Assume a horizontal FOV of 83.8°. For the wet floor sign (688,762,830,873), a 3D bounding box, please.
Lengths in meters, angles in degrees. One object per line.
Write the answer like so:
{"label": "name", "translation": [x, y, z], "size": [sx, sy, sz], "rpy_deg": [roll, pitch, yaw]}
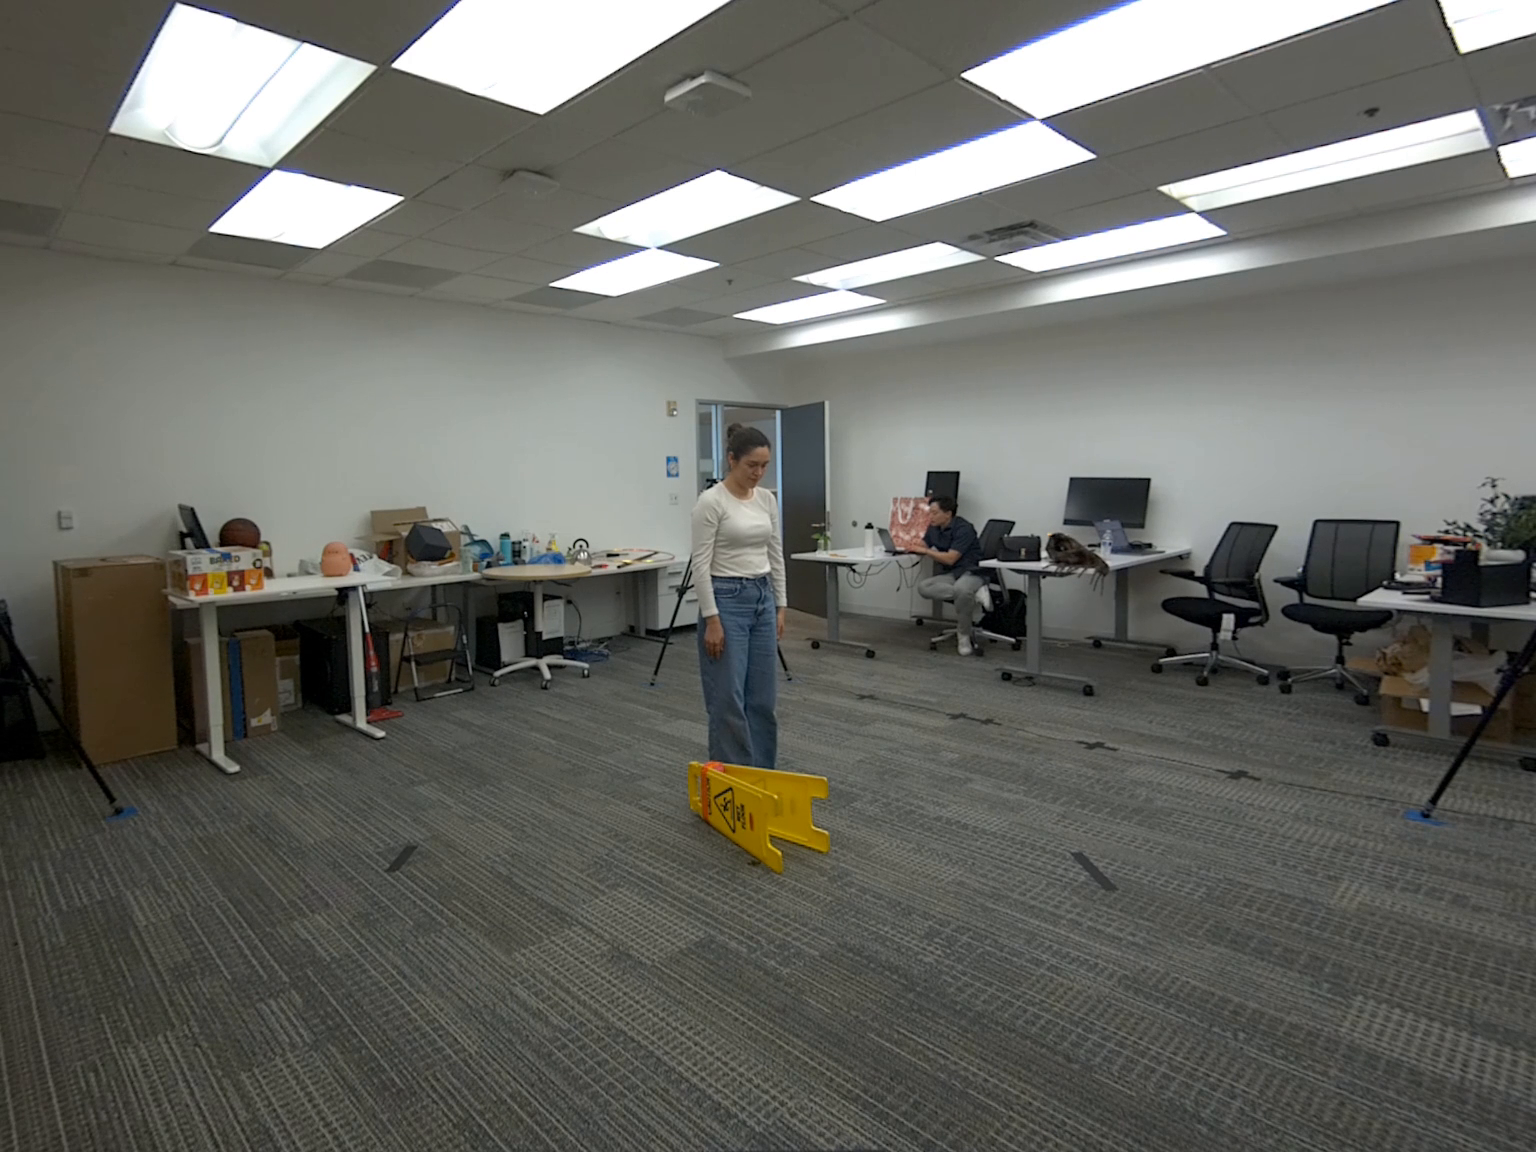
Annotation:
{"label": "wet floor sign", "translation": [-0.096, 0.891, 3.334], "size": [0.282, 0.281, 0.665], "rpy_deg": [-4, 5, -43]}
